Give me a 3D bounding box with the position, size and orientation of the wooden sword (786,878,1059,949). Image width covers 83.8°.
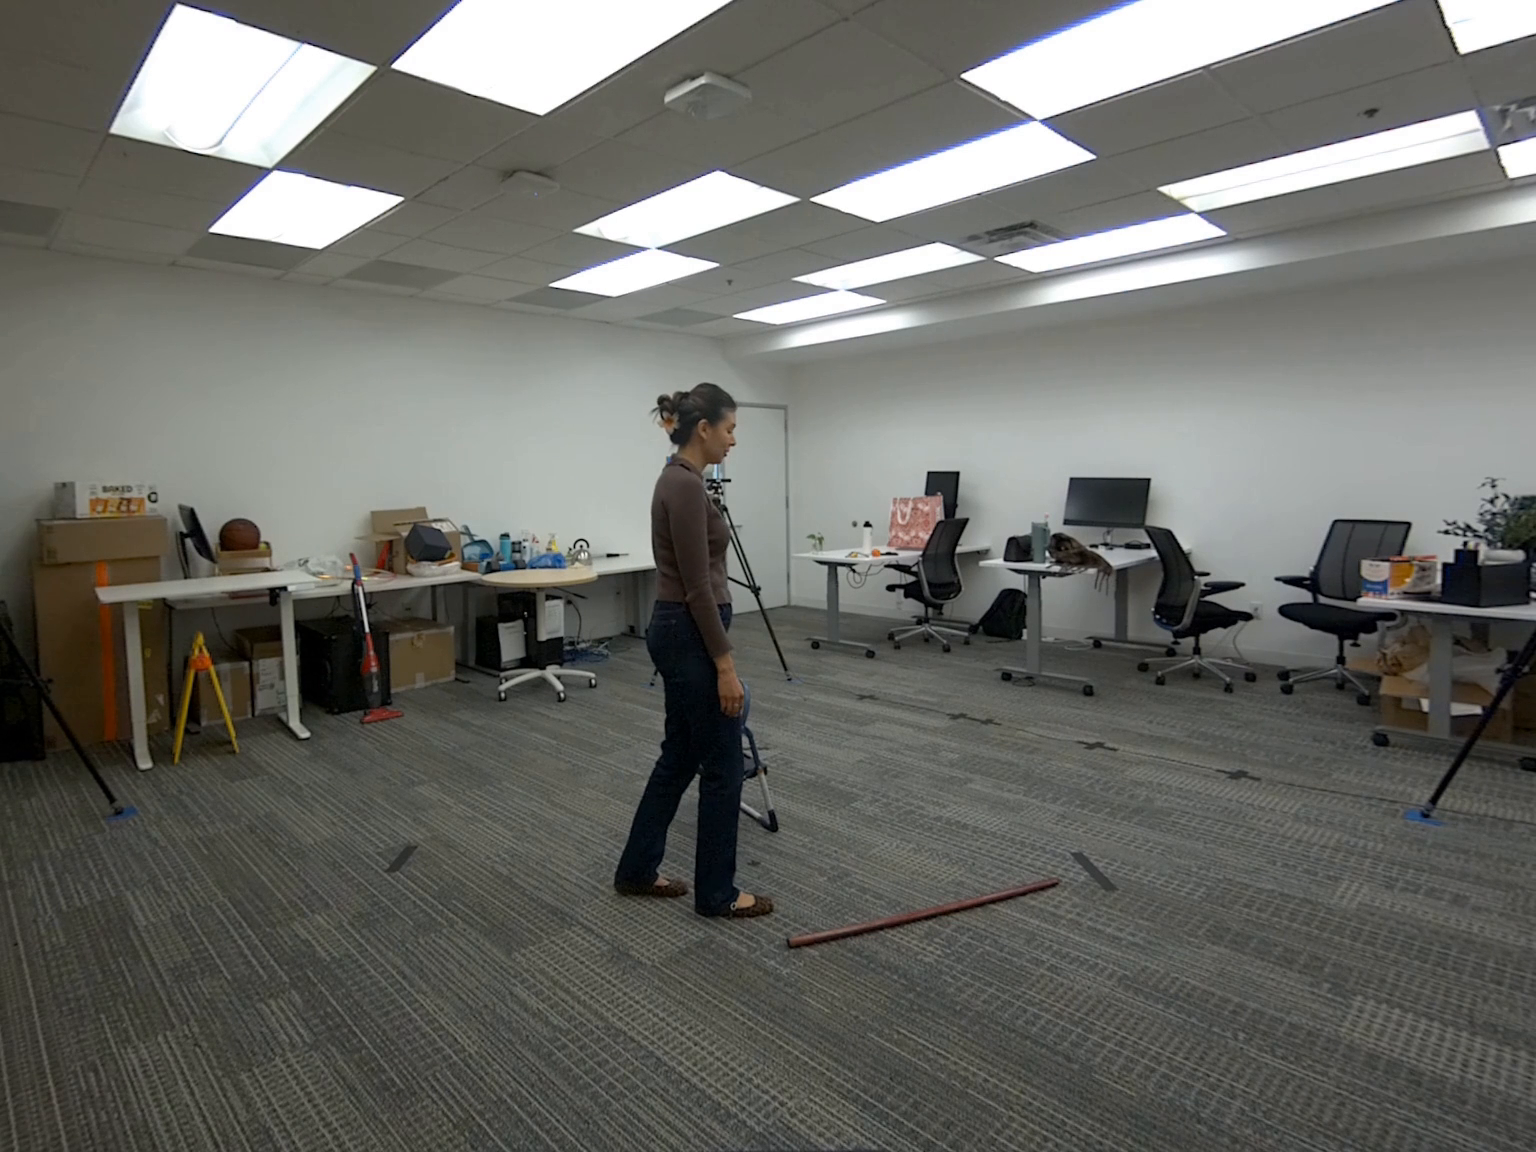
[{"bbox_3d":[0.525,1.057,2.727,1.006,0.024,0.053,-3,17,-21],"label":"wooden sword"}]
